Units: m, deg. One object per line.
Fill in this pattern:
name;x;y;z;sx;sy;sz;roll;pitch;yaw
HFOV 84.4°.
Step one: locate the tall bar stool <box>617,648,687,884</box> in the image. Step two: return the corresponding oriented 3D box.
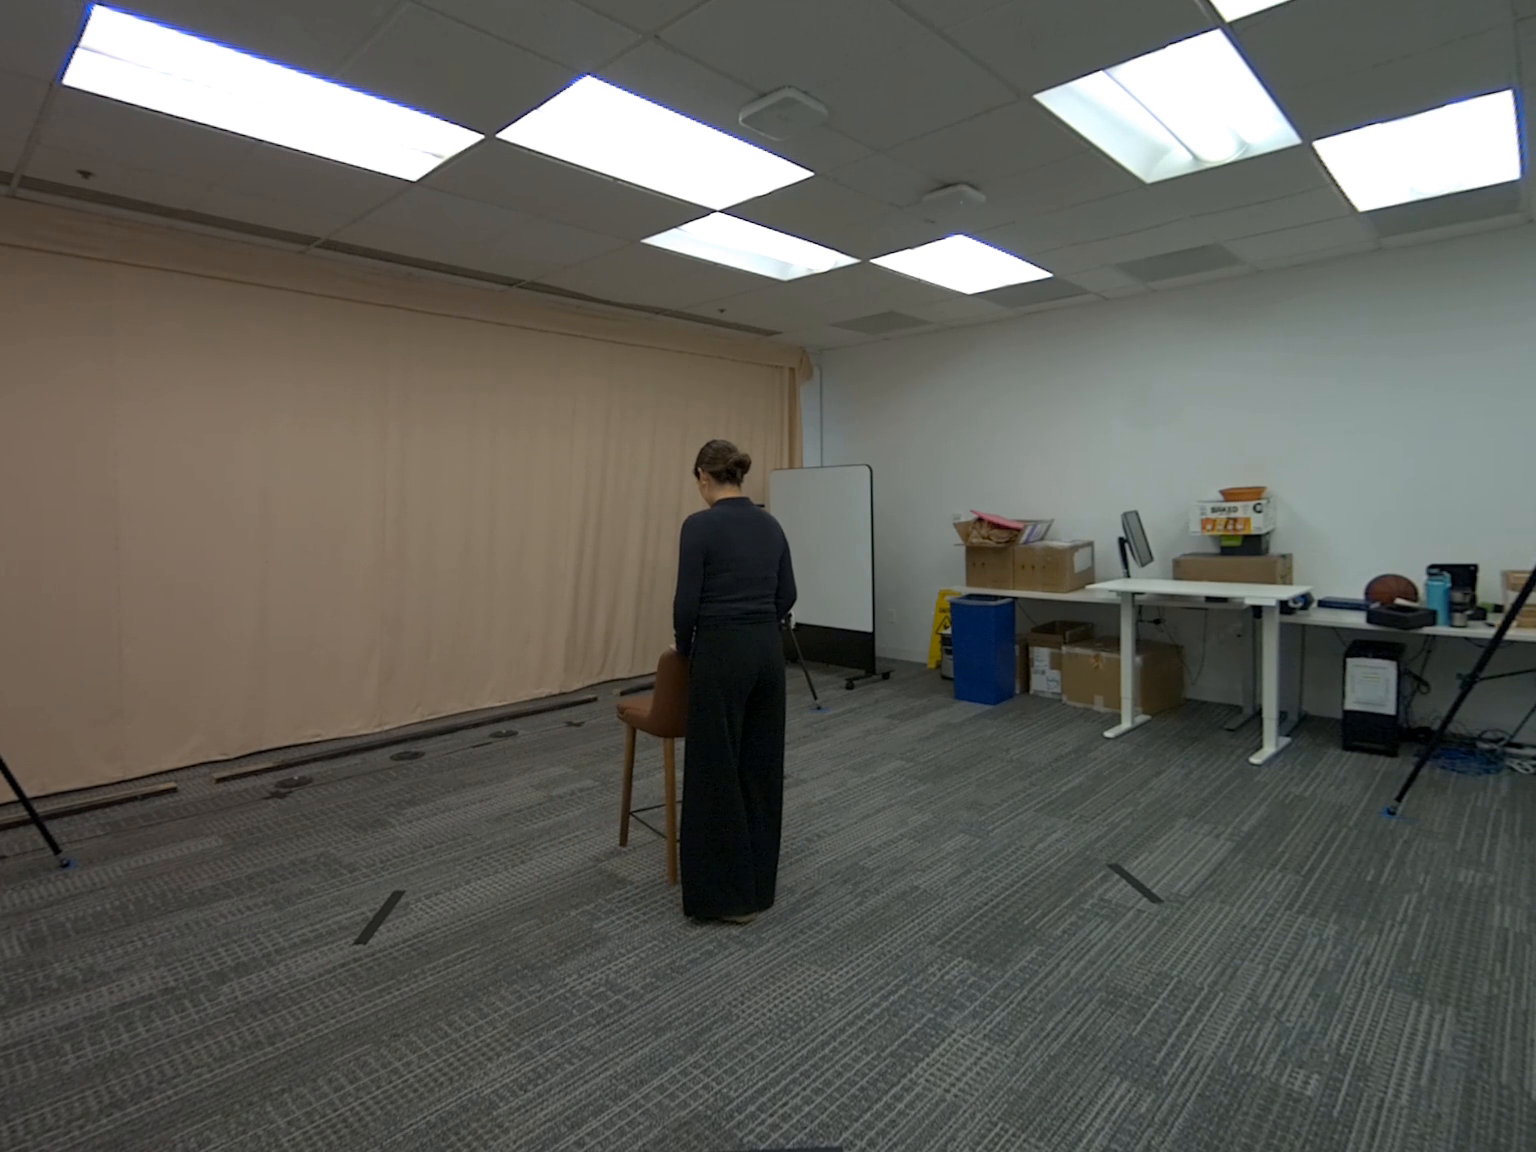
tall bar stool;-0.328;0.675;3.348;0.444;0.887;0.482;-3;6;-32
